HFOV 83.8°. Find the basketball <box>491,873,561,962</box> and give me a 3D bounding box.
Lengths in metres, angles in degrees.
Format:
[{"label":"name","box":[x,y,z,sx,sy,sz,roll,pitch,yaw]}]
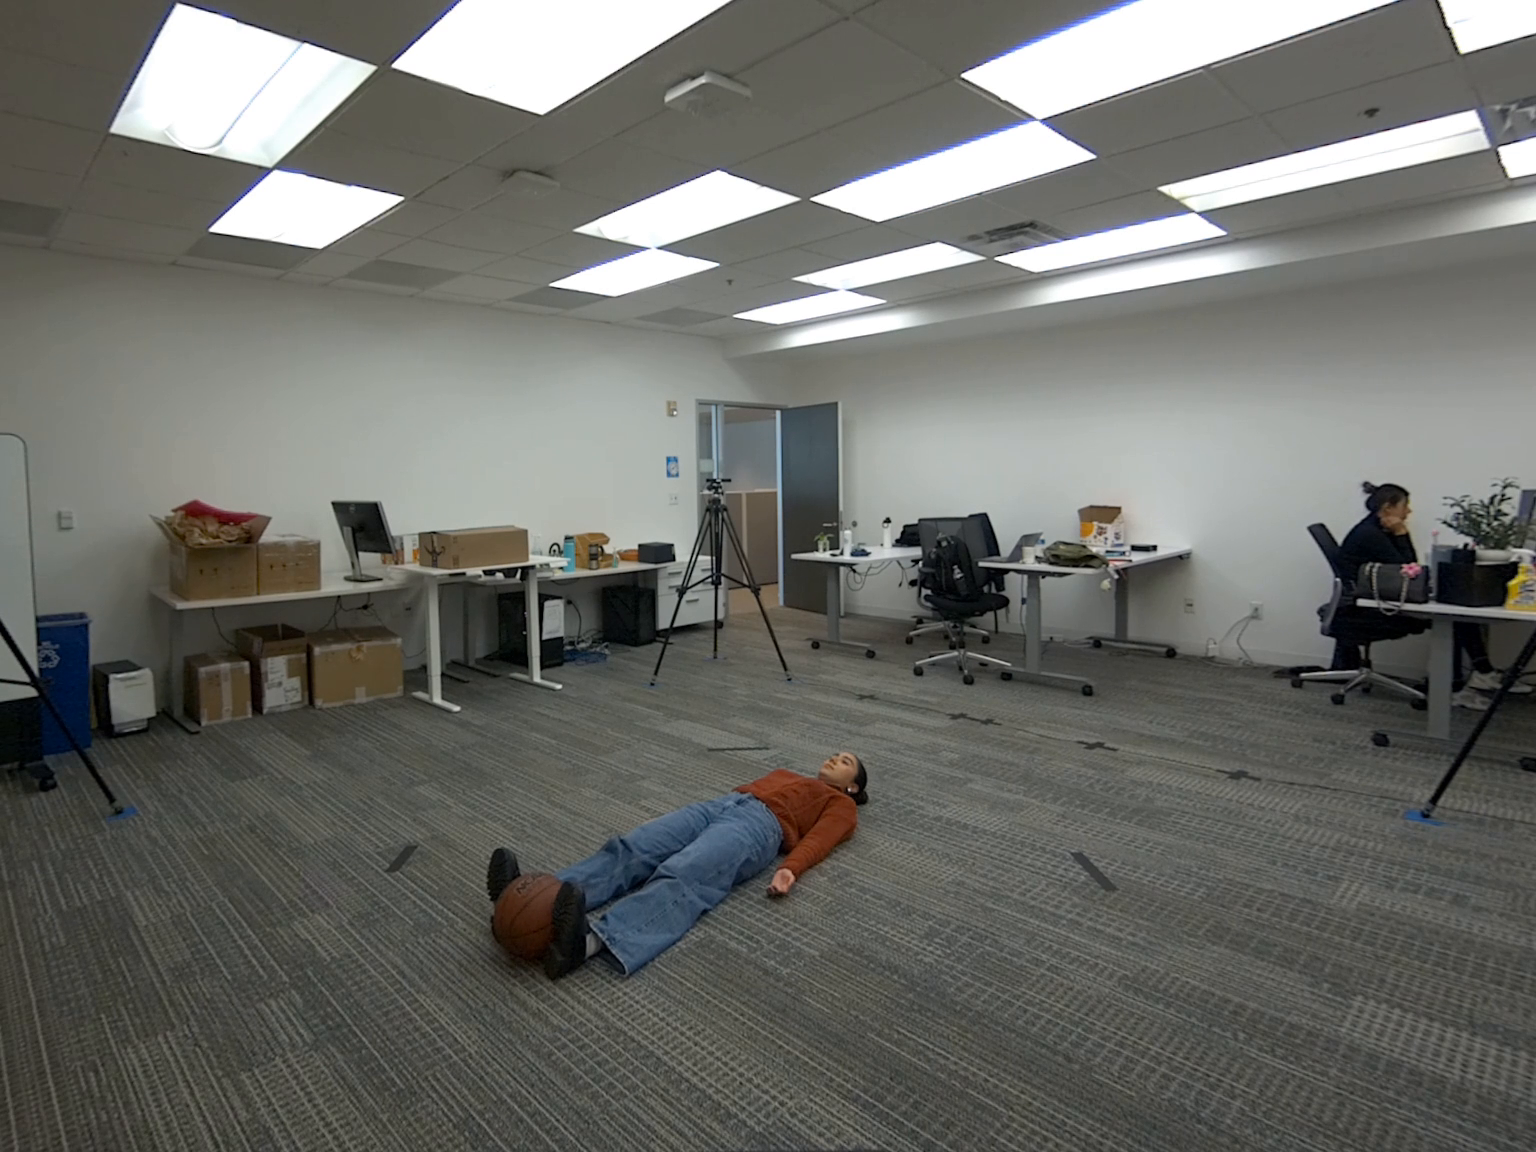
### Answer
[{"label":"basketball","box":[-0.689,1.003,2.533,0.236,0.235,0.237,-1,5,-2]}]
